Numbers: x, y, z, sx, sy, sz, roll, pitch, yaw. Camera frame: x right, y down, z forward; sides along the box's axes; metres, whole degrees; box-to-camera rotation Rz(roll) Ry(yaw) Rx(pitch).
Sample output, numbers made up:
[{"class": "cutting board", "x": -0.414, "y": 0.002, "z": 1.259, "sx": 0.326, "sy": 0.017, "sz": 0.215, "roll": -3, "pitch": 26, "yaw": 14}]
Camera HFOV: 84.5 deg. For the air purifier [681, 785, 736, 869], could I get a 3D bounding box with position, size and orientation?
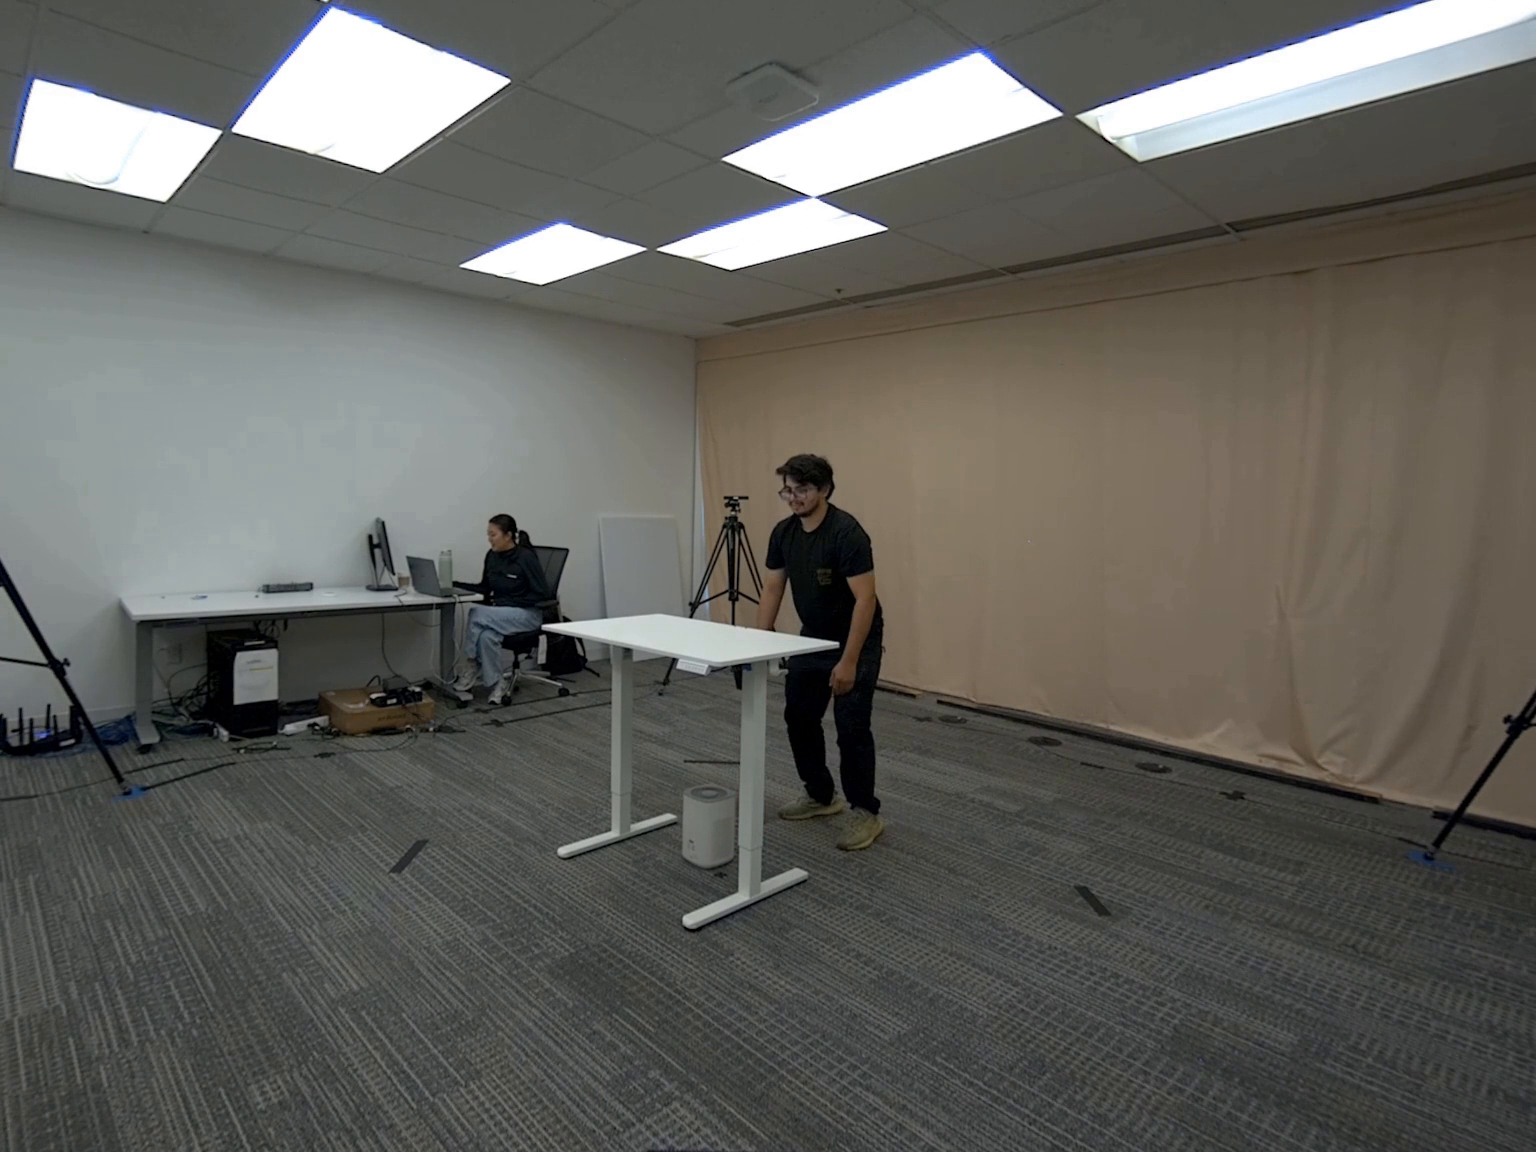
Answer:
[{"class": "air purifier", "x": -0.230, "y": 0.955, "z": 3.216, "sx": 0.168, "sy": 0.265, "sz": 0.175, "roll": -3, "pitch": 5, "yaw": -45}]
